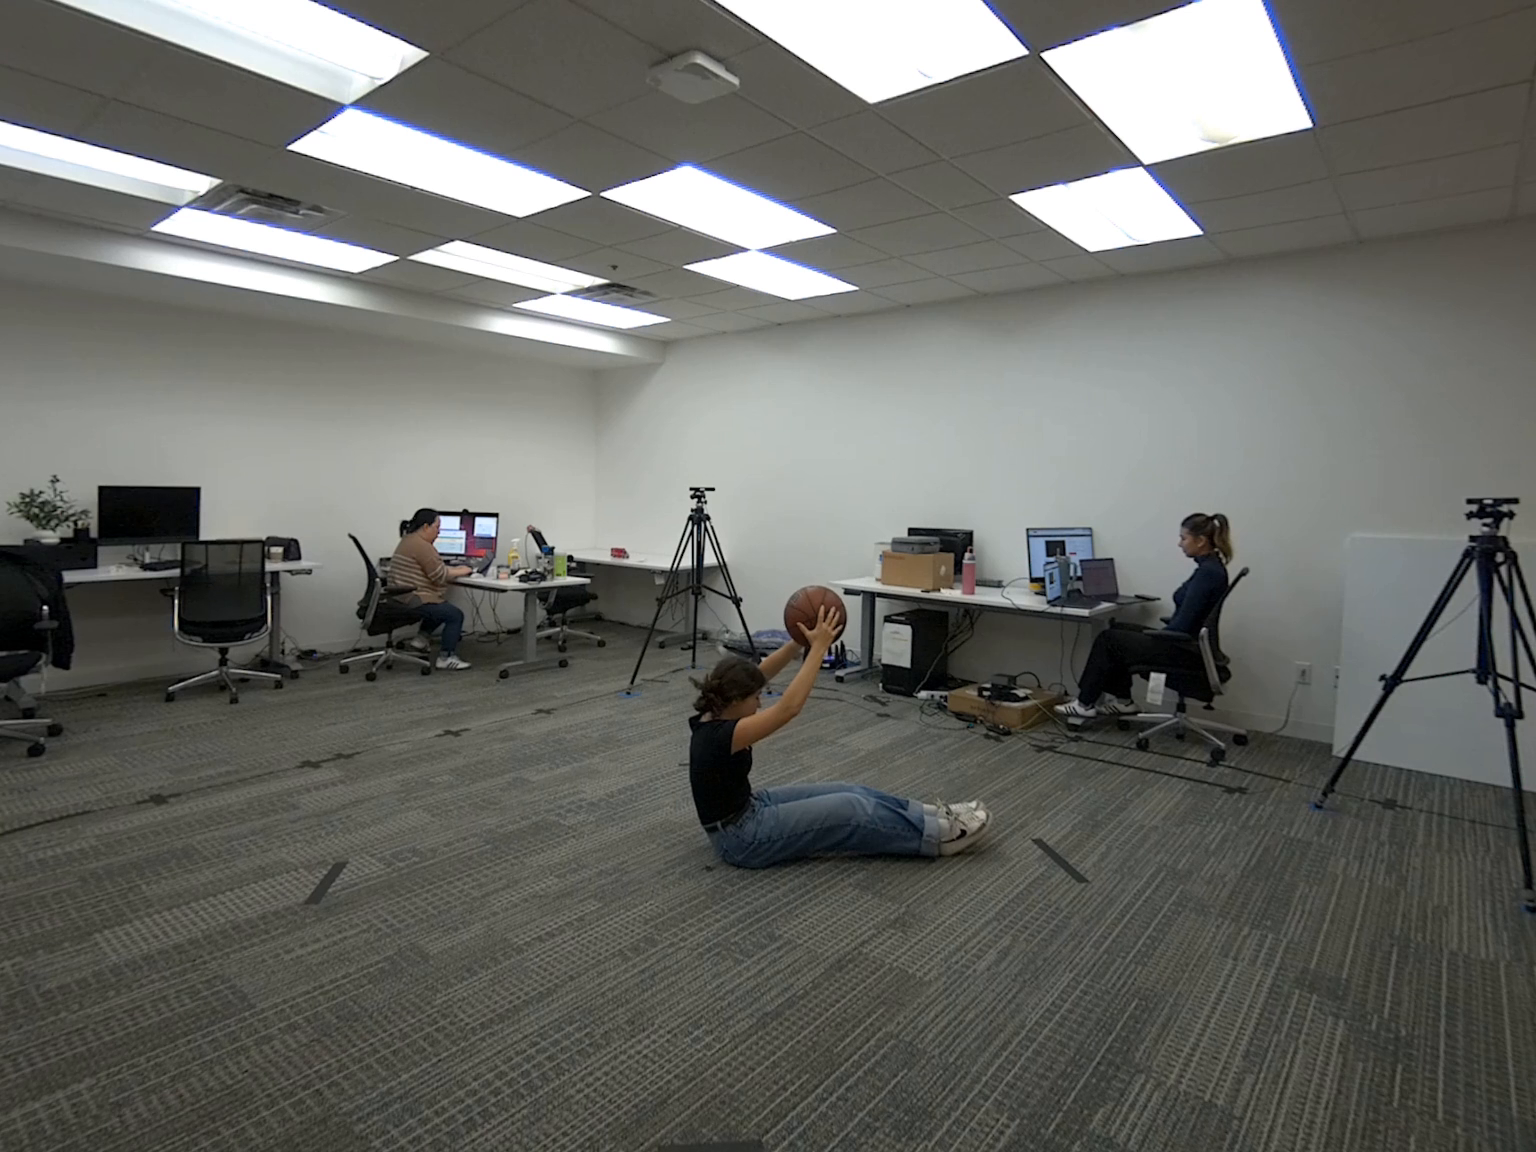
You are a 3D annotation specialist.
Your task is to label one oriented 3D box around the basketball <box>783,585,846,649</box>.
[{"bbox_3d":[0.165,0.152,3.213,0.235,0.235,0.237,1,4,-2],"label":"basketball"}]
